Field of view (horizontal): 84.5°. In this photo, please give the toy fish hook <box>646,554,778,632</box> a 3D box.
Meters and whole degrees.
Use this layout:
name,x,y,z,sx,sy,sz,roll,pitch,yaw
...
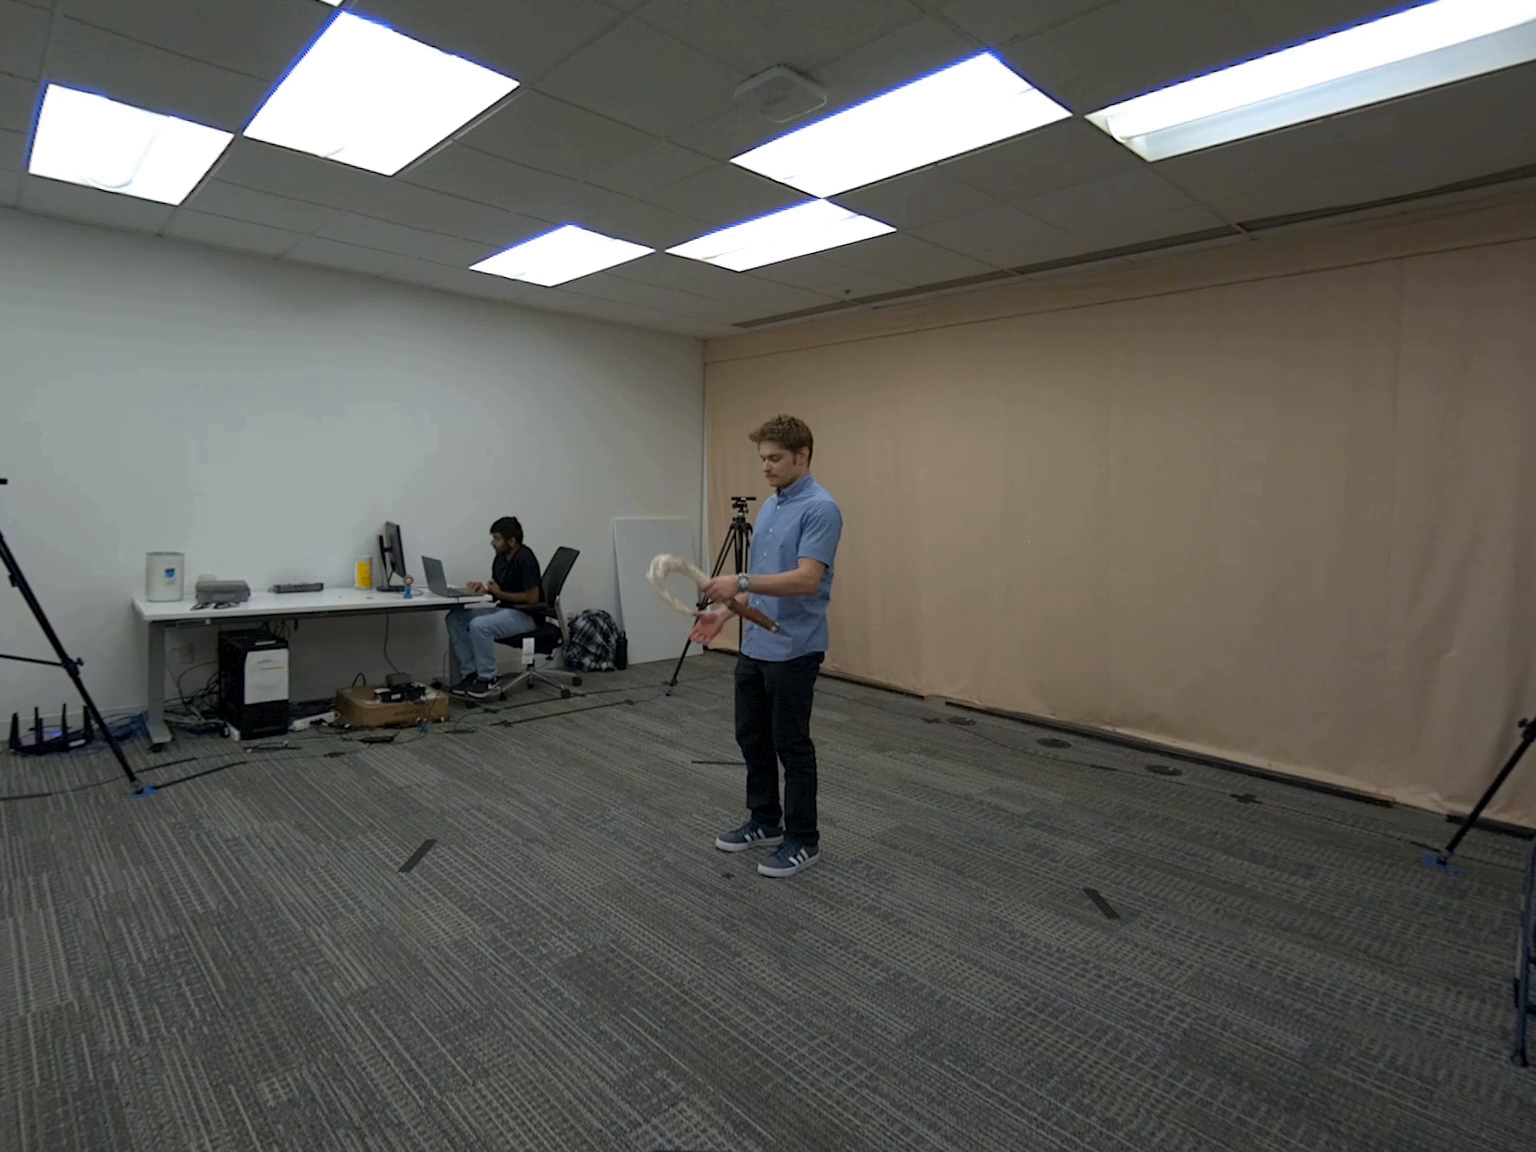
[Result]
name,x,y,z,sx,sy,sz,roll,pitch,yaw
toy fish hook,-0.178,0.115,2.886,0.500,0.227,0.048,32,-48,-12
